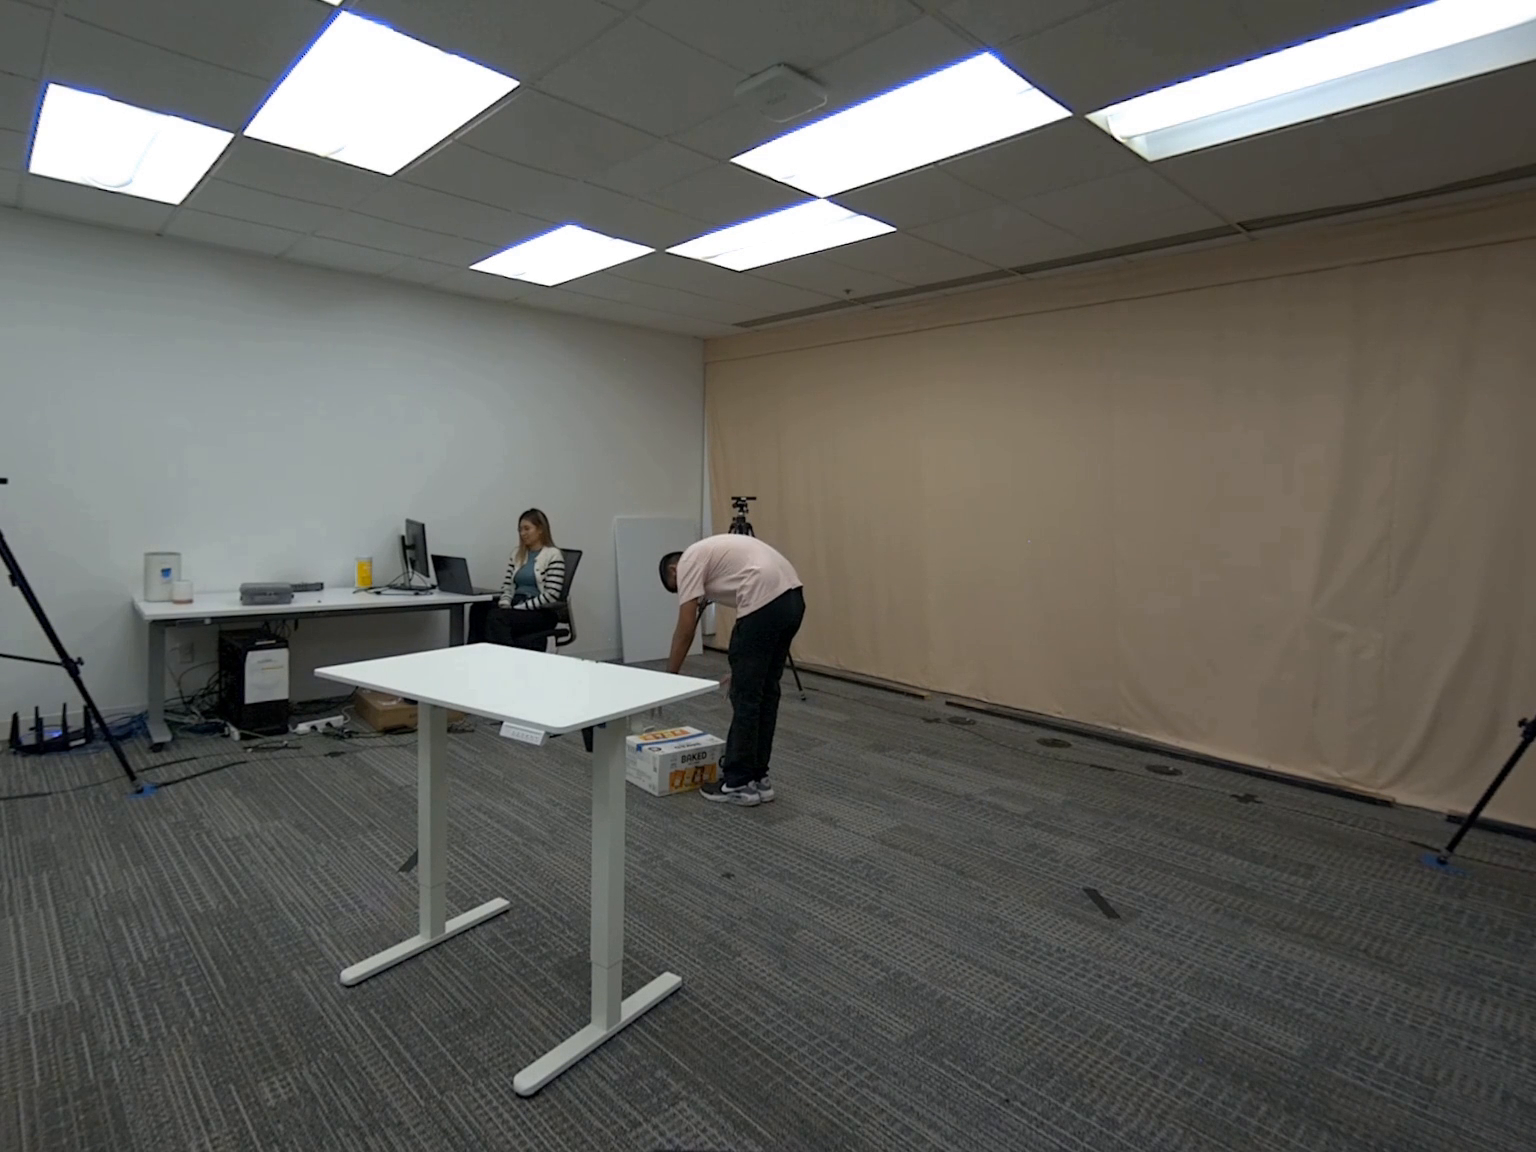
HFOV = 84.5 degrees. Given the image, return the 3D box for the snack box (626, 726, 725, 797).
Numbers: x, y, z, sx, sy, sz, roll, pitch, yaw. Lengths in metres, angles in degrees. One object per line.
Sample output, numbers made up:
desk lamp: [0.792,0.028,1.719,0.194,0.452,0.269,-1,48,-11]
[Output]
snack box: [-0.473,0.907,4.152,0.396,0.205,0.349,-2,5,-39]
